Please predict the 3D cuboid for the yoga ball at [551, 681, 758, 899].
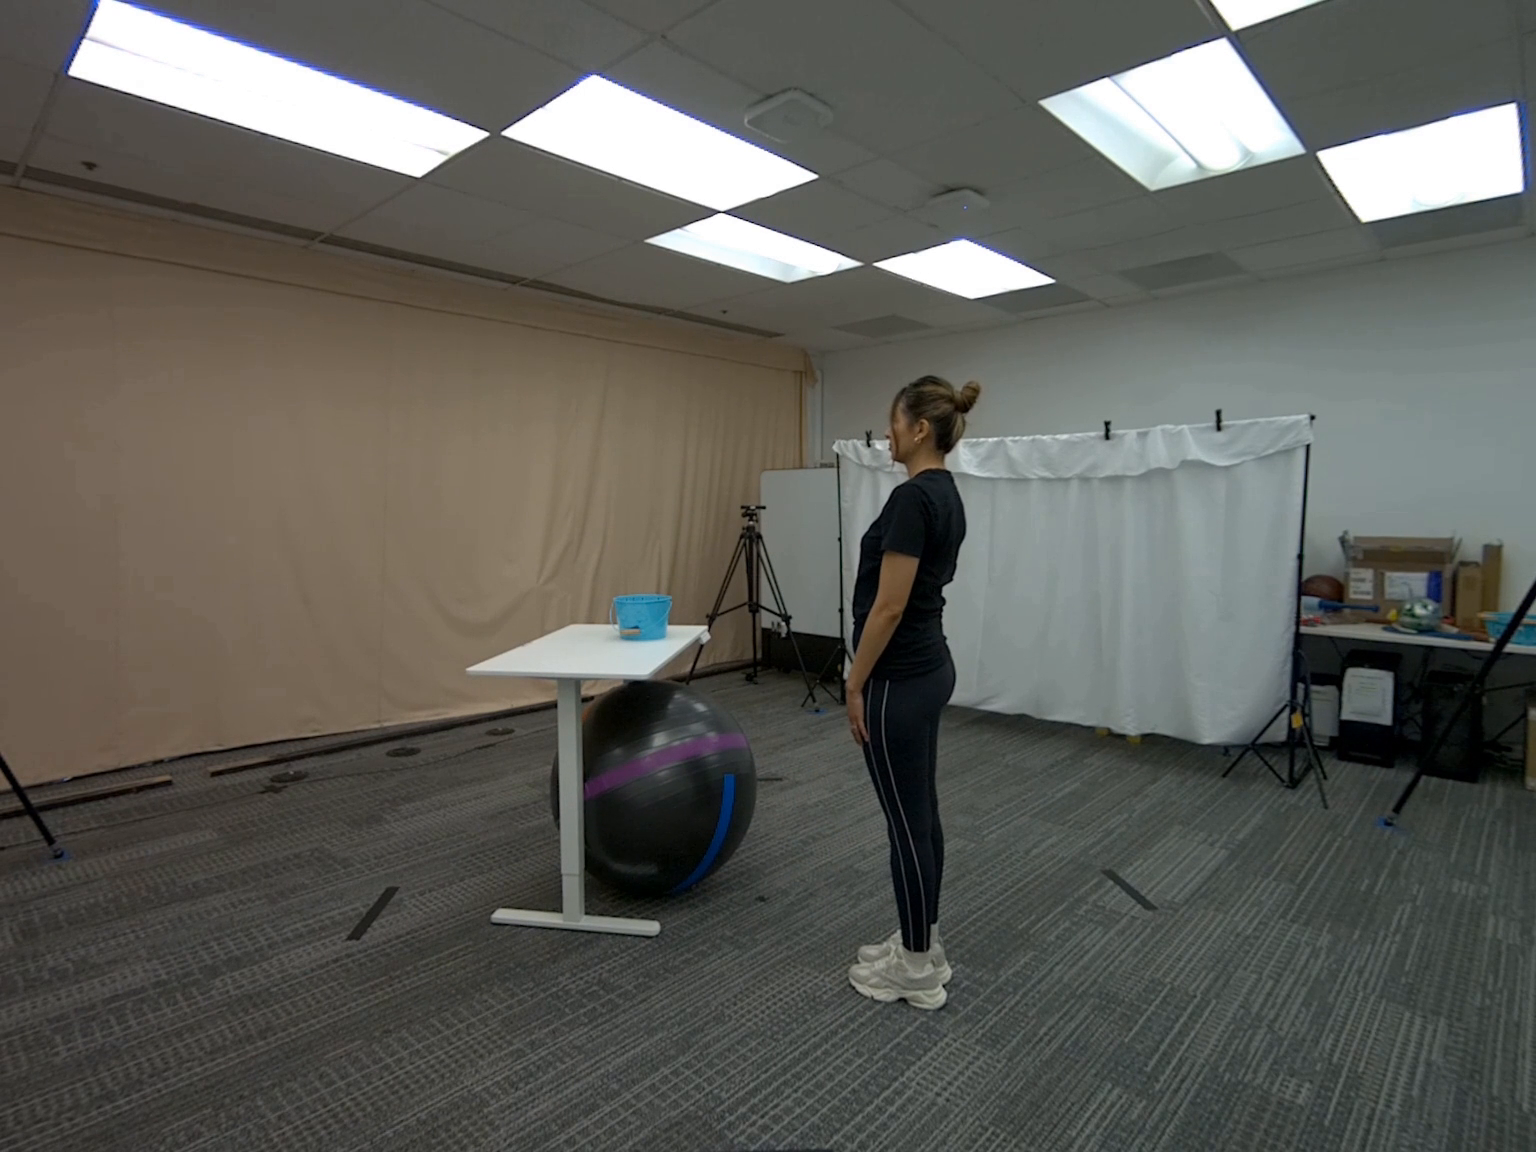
[{"bbox_3d":[-0.427,0.788,3.108,0.757,0.756,0.761,0,4,-2],"label":"yoga ball"}]
